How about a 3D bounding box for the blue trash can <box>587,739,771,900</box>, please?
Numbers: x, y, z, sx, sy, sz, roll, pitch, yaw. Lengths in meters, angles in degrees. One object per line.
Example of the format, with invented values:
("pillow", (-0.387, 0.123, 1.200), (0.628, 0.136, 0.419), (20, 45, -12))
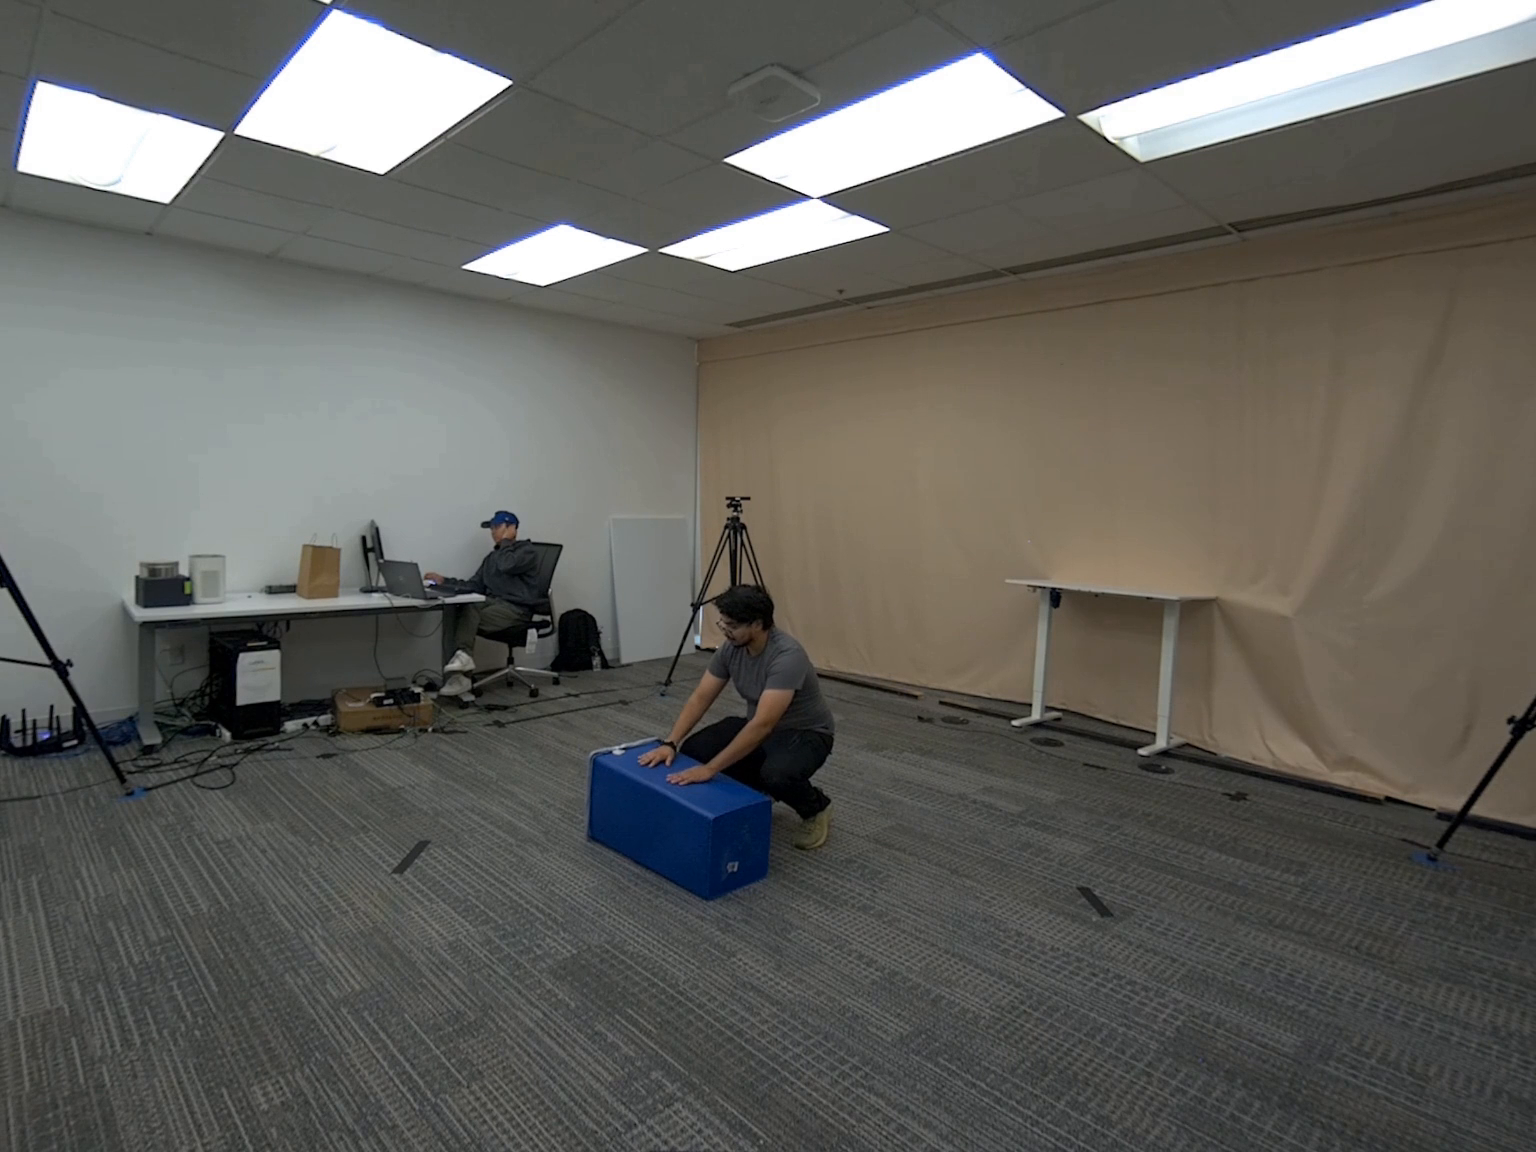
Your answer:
("blue trash can", (-0.359, 0.920, 3.234), (0.365, 0.377, 0.733), (-2, 8, -43))
